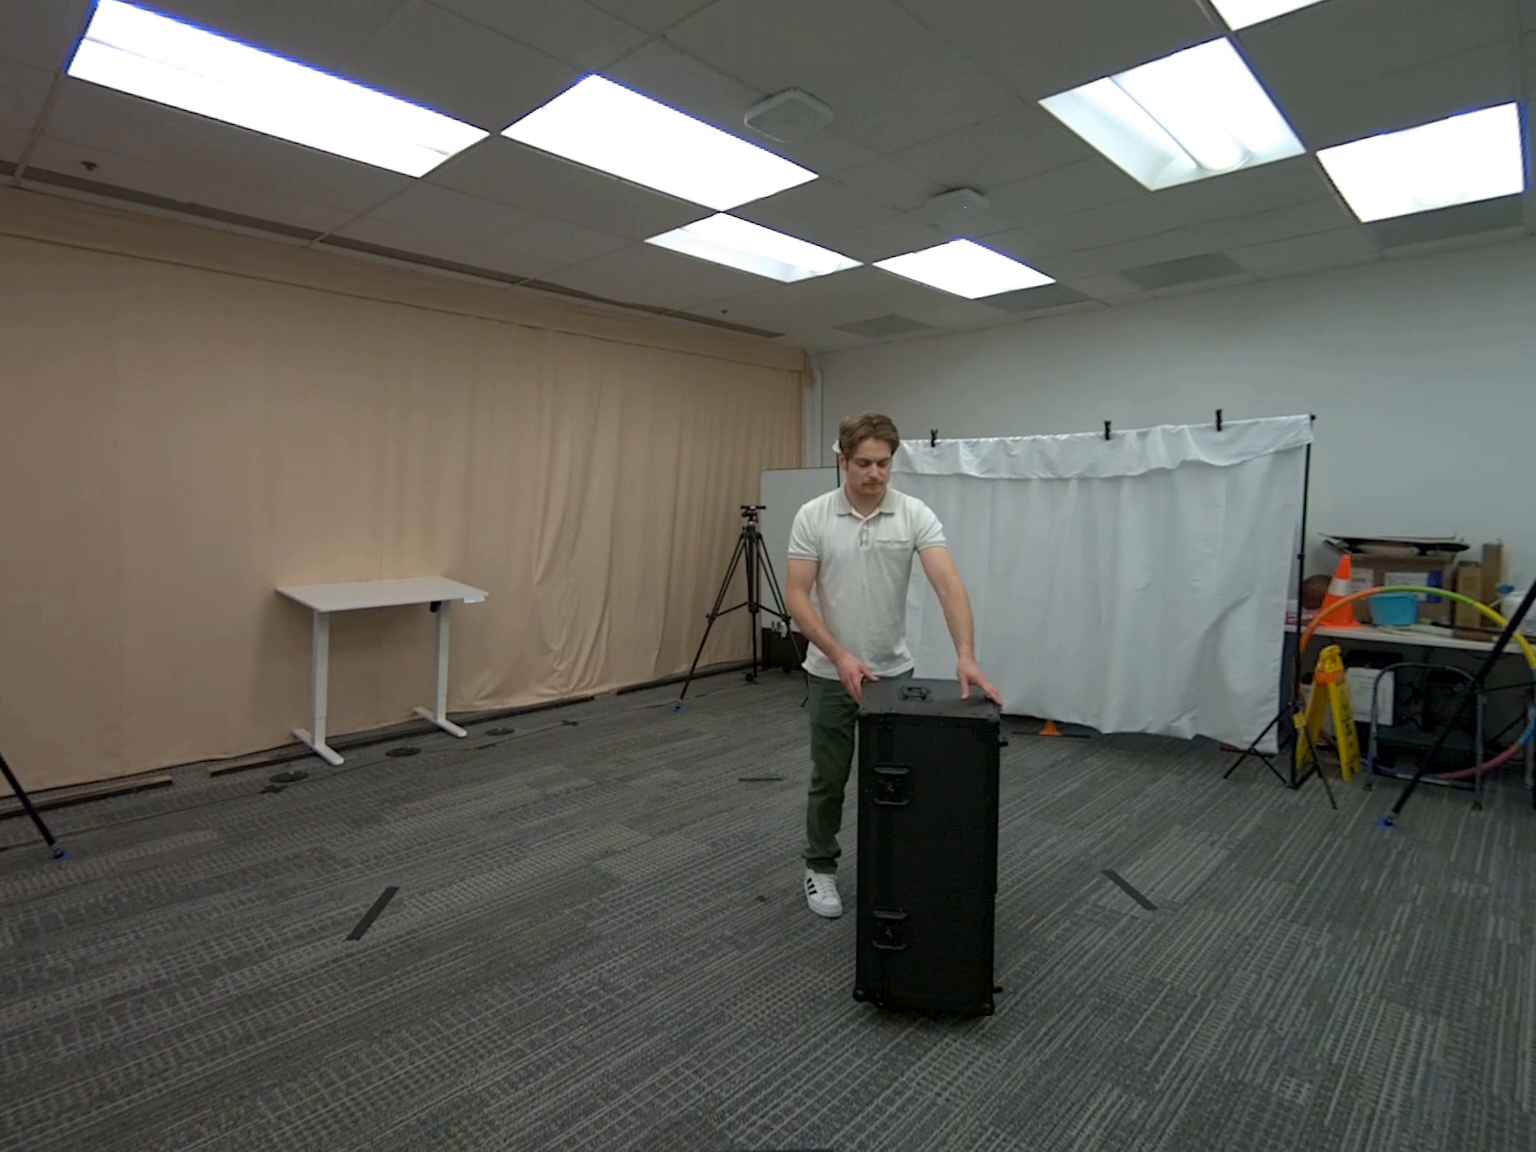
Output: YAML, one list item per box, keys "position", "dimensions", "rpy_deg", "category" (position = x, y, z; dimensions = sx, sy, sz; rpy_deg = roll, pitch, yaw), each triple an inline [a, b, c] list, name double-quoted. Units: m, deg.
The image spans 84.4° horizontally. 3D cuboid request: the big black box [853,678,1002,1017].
- position: [0.457, 0.765, 2.430]
  dimensions: [0.389, 0.867, 0.519]
  rpy_deg: [1, 4, 8]
  category: "big black box"
